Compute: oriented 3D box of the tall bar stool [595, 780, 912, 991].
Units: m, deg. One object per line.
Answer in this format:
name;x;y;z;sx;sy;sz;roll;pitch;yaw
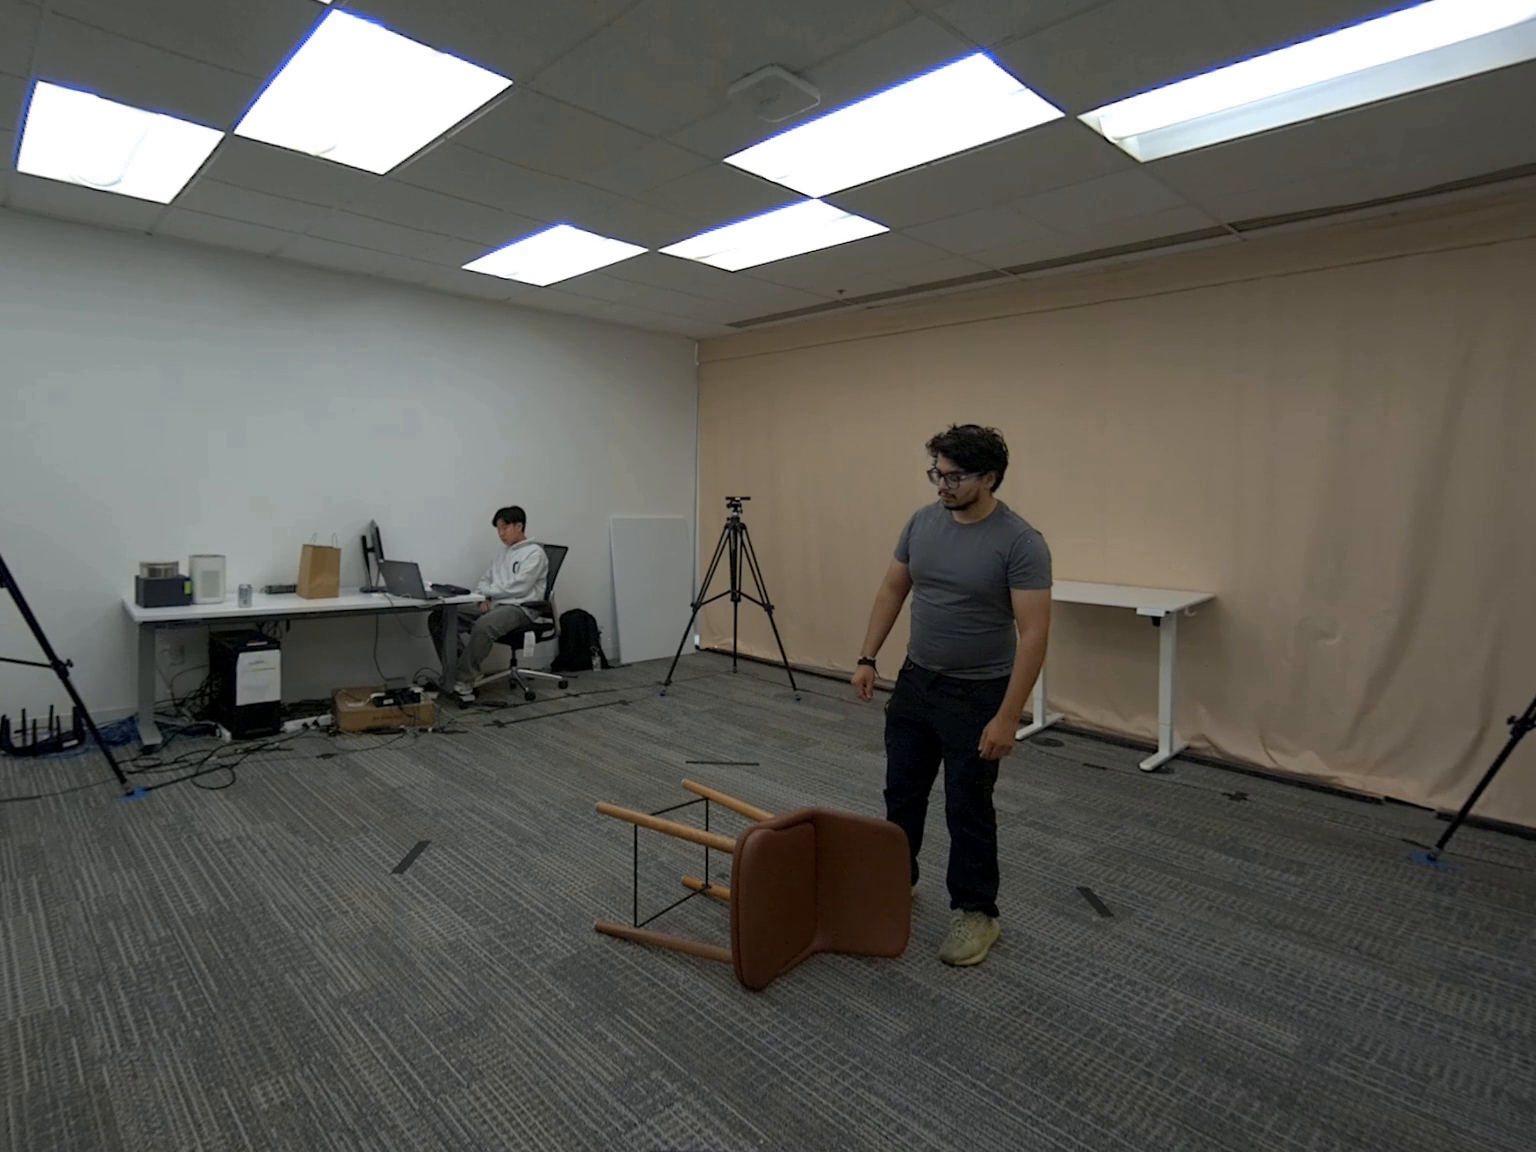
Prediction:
tall bar stool;-0.071;0.940;2.608;0.910;0.456;0.457;2;1;35
